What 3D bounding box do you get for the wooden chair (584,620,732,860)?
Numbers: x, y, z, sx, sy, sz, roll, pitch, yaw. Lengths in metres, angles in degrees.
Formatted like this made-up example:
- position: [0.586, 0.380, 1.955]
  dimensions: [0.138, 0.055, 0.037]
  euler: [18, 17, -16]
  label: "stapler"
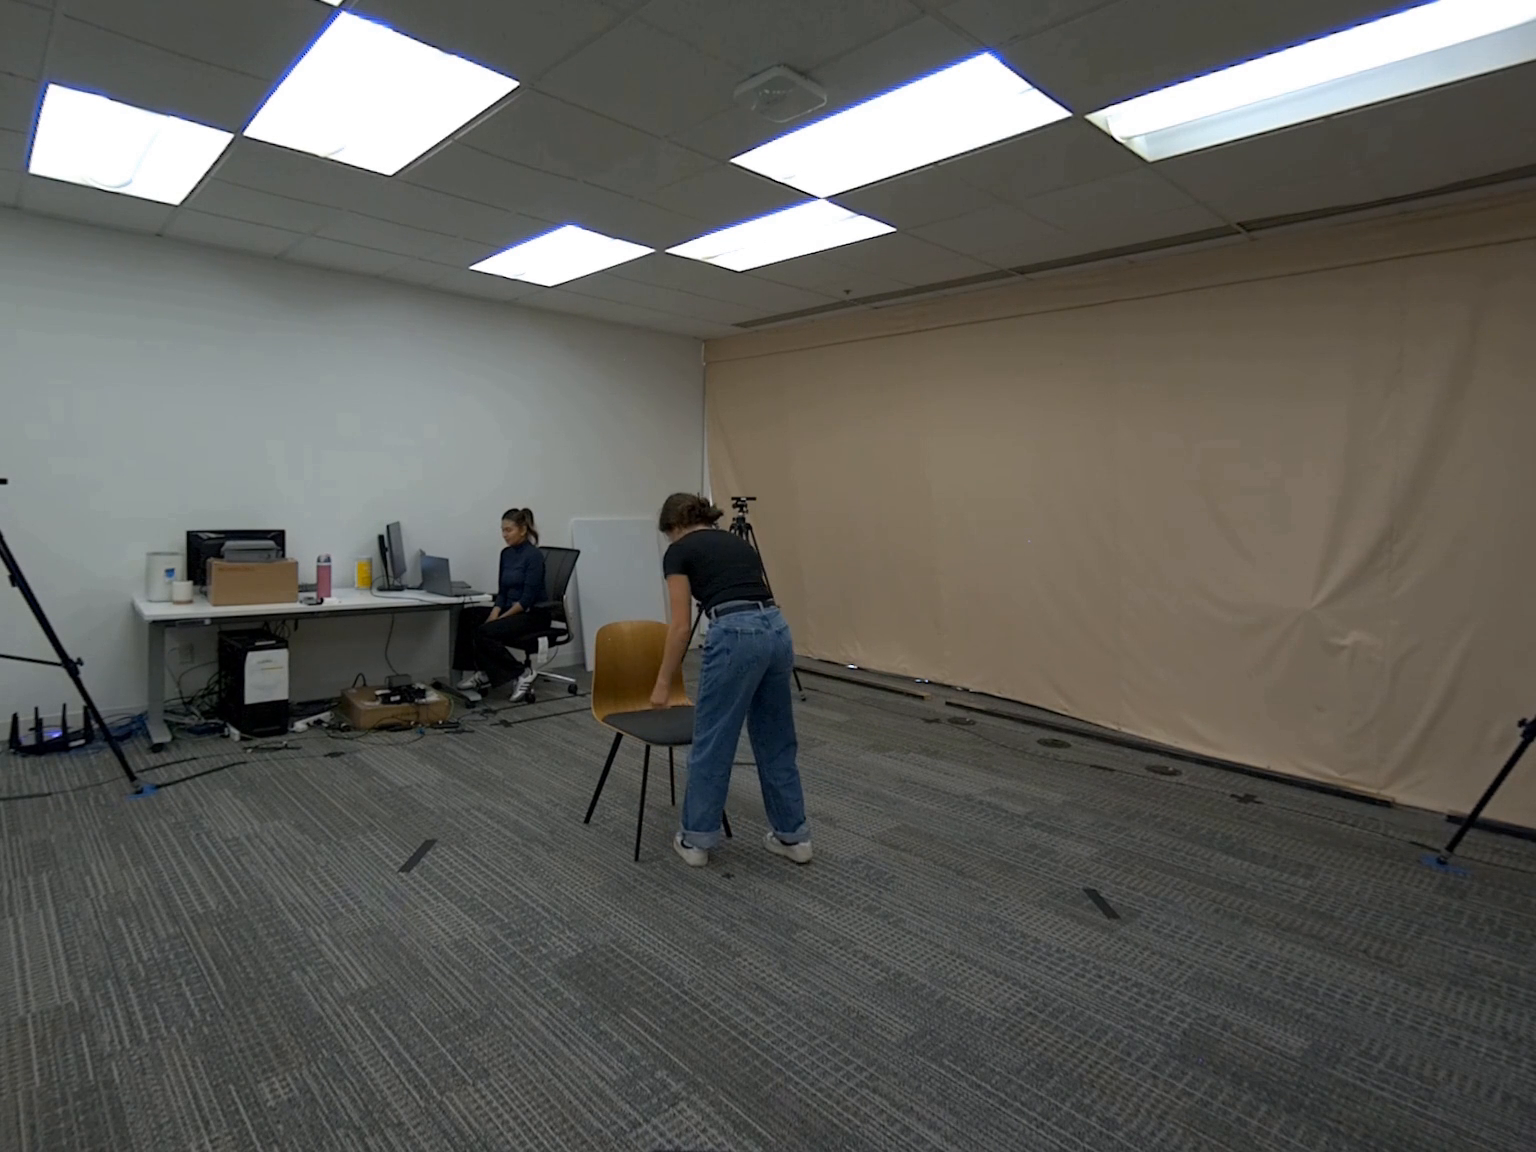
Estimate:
- position: [-0.453, 0.636, 3.483]
  dimensions: [0.467, 0.878, 0.535]
  euler: [0, 0, -37]
  label: "wooden chair"
